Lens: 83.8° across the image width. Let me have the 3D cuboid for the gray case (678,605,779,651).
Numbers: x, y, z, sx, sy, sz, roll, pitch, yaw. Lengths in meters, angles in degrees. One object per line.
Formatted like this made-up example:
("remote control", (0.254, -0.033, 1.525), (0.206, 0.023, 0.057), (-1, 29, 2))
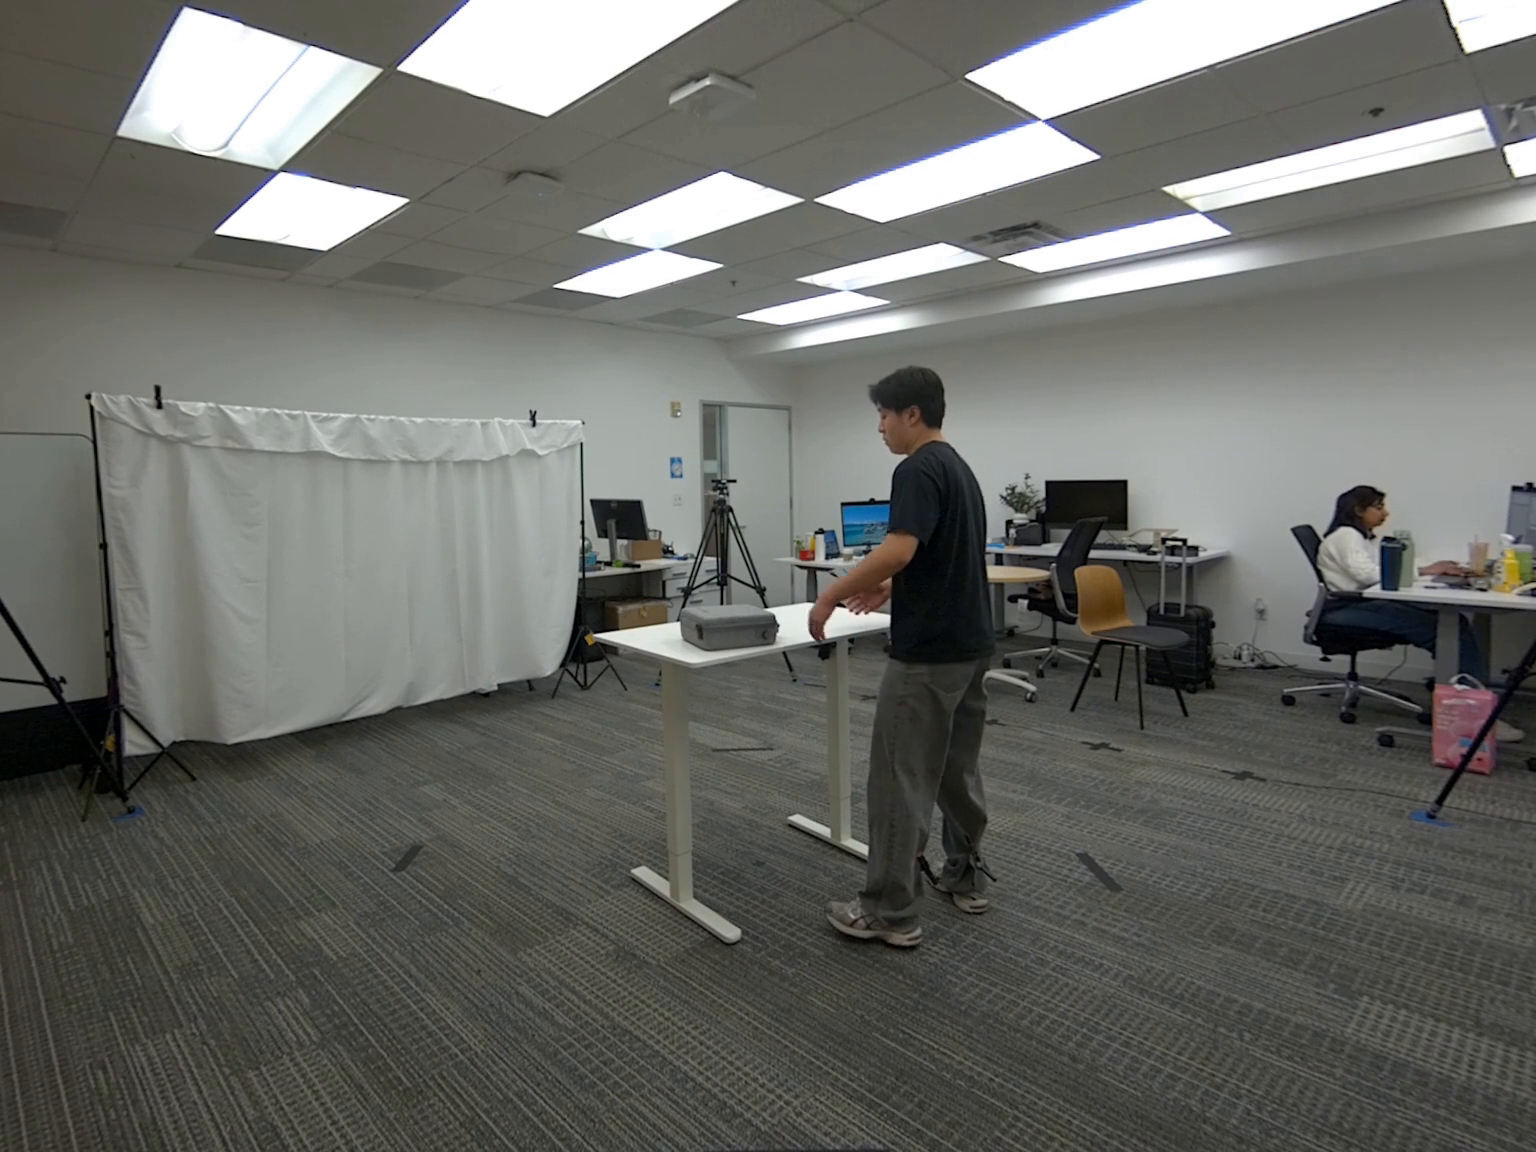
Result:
("gray case", (-0.116, 0.156, 2.737), (0.281, 0.102, 0.269), (-3, 6, -24))
